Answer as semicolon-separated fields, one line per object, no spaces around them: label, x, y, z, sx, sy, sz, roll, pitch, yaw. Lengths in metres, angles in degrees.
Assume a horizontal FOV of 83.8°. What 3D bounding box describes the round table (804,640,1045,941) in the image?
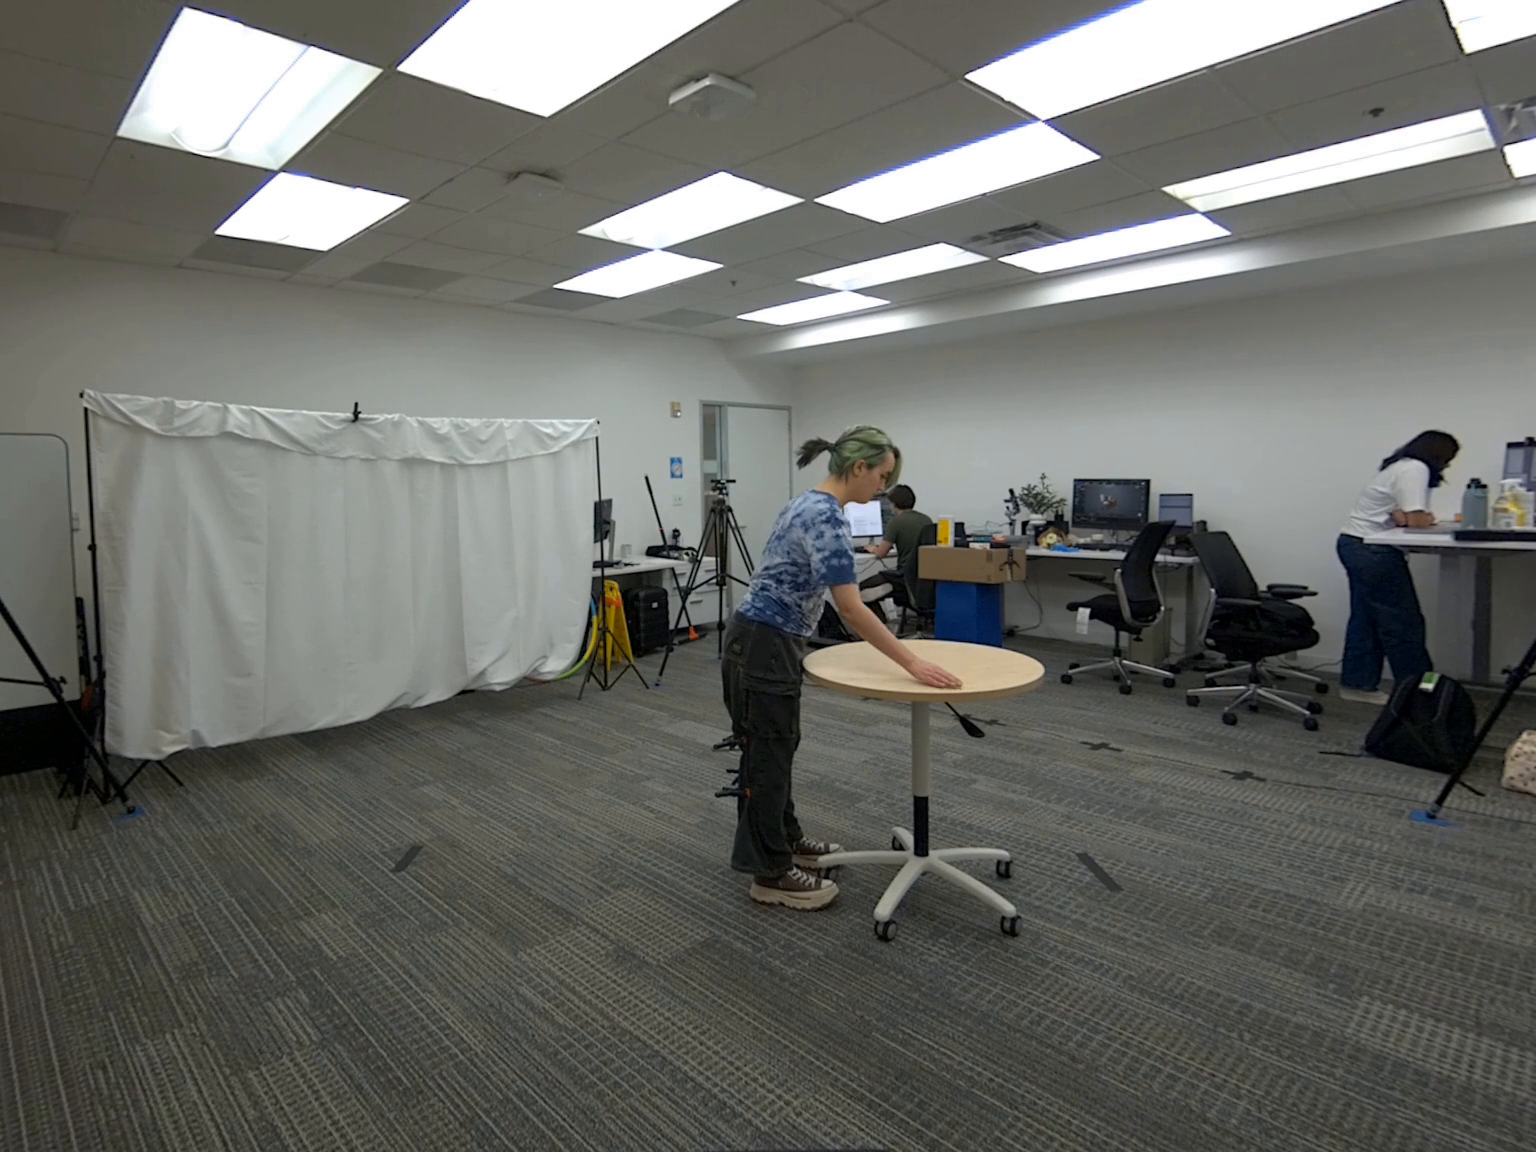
round table;0.496;0.674;2.818;0.784;0.783;0.789;-1;5;-2
